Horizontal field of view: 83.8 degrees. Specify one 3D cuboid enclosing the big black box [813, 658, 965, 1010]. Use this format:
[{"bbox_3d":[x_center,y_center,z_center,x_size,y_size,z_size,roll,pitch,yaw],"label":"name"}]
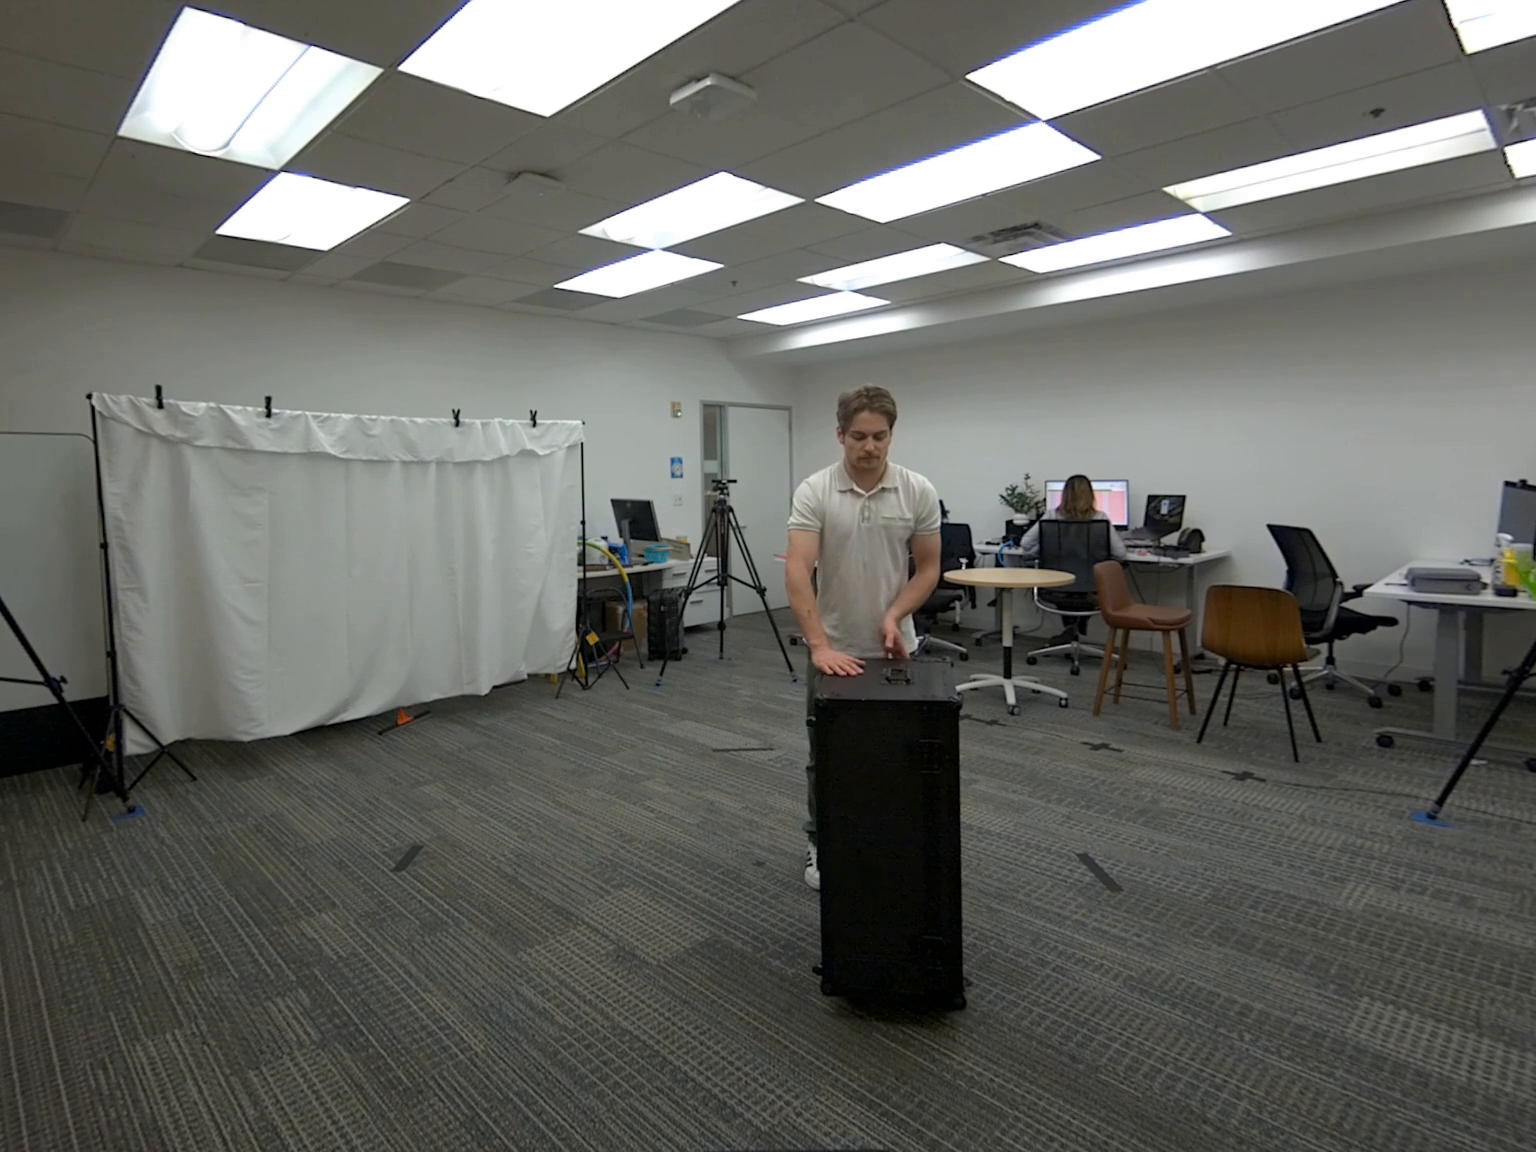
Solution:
[{"bbox_3d":[0.343,0.711,2.365,0.390,0.866,0.519,-2,3,11],"label":"big black box"}]
